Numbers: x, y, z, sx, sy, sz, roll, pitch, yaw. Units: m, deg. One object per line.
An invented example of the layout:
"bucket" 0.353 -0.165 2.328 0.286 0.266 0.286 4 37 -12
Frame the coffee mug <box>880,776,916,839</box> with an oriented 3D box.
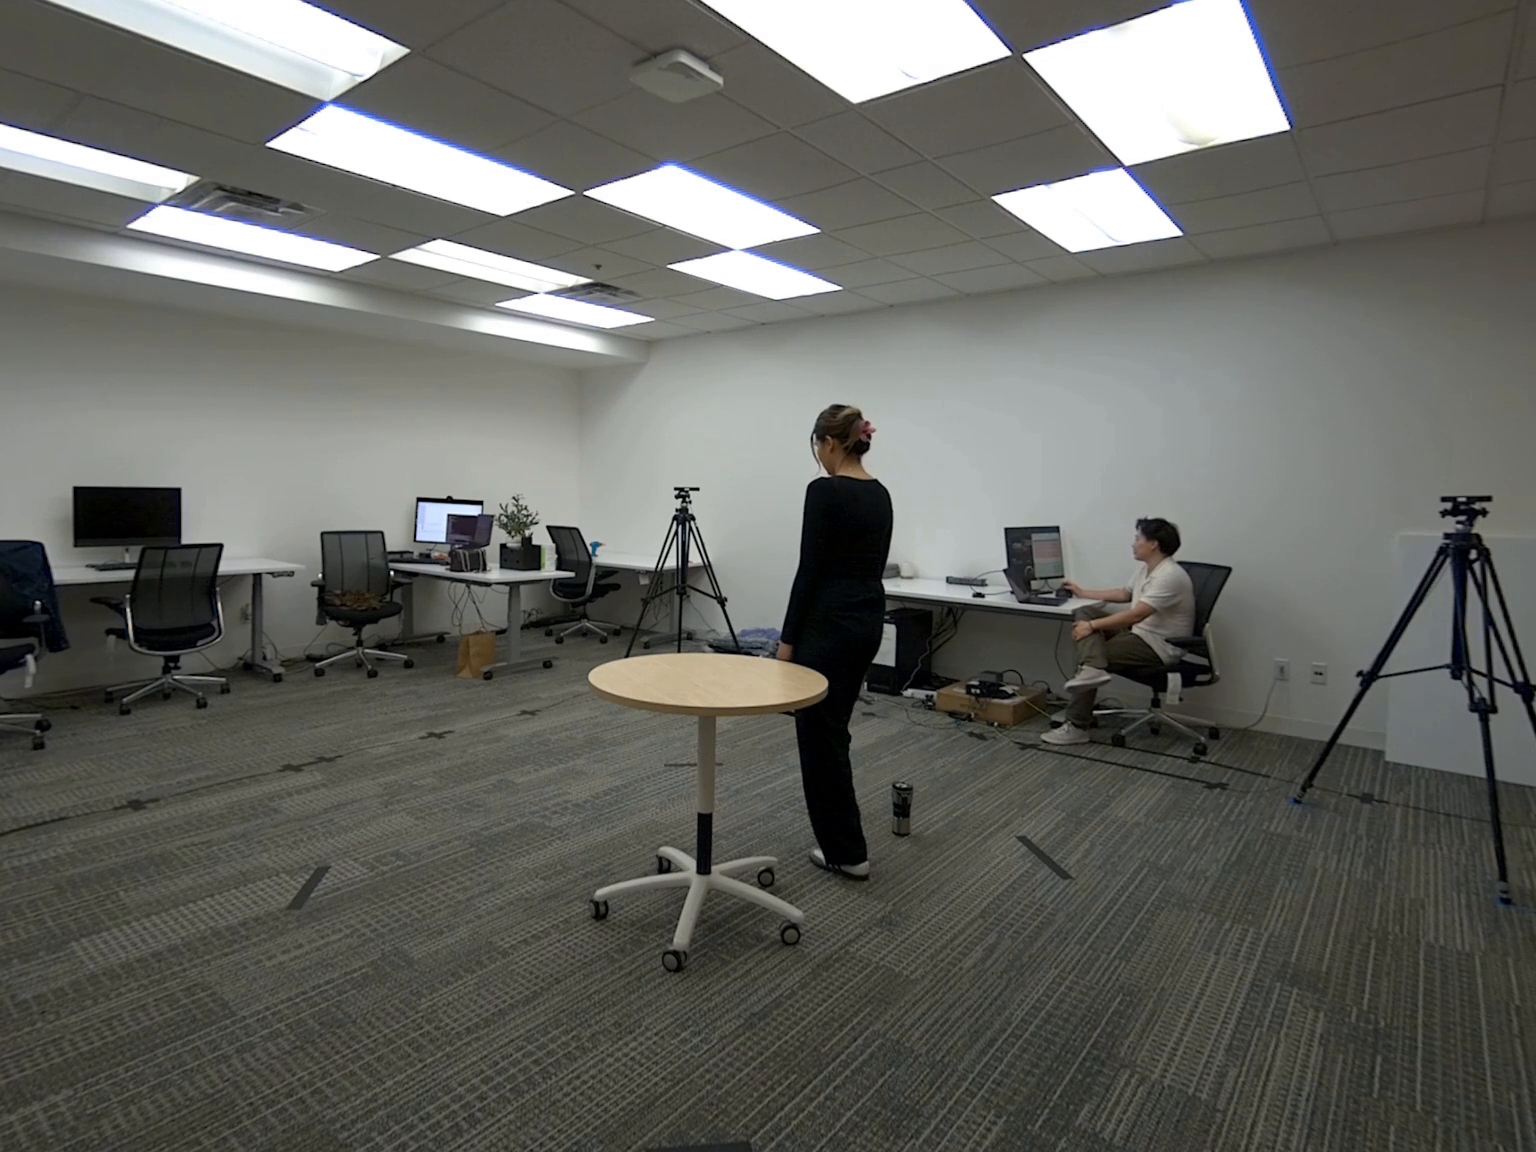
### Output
"coffee mug" 0.530 0.944 3.442 0.090 0.203 0.119 8 2 26
